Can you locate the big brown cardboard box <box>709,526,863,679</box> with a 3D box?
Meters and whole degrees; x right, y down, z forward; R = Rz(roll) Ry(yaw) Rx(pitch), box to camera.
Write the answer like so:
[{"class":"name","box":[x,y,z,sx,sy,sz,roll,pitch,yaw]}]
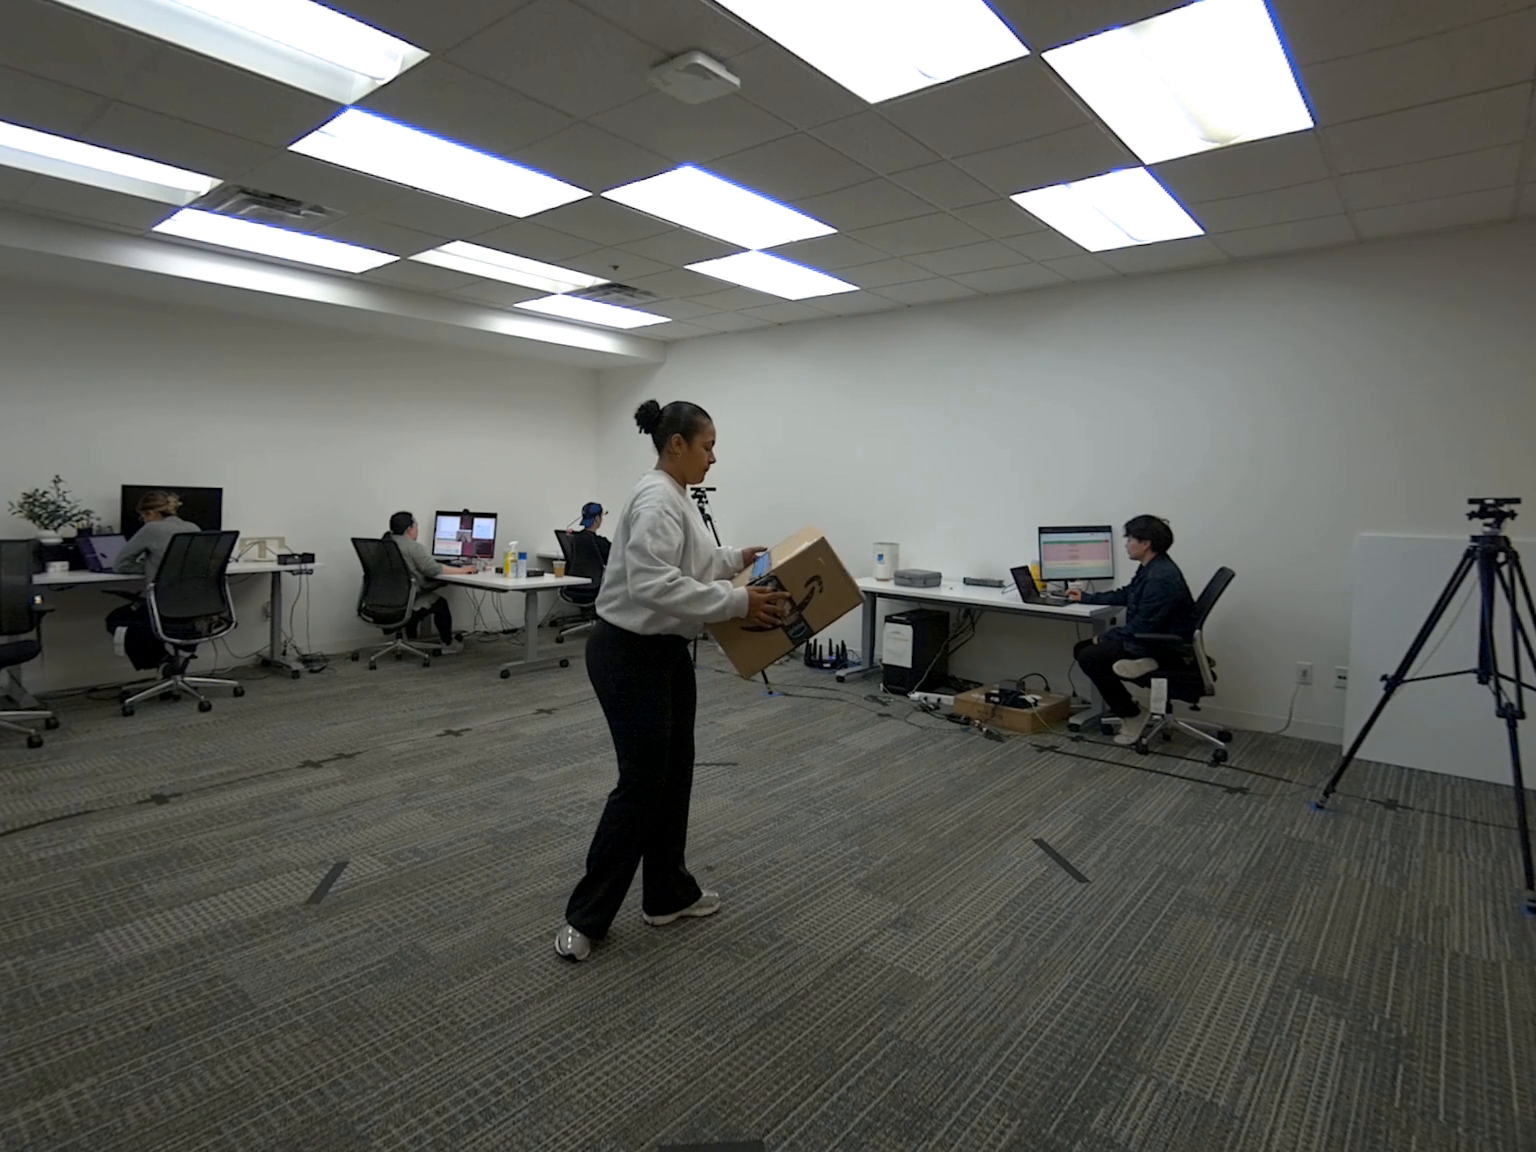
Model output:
[{"class":"big brown cardboard box","box":[0.039,0.059,2.637,0.418,0.232,0.591,-35,5,4]}]
